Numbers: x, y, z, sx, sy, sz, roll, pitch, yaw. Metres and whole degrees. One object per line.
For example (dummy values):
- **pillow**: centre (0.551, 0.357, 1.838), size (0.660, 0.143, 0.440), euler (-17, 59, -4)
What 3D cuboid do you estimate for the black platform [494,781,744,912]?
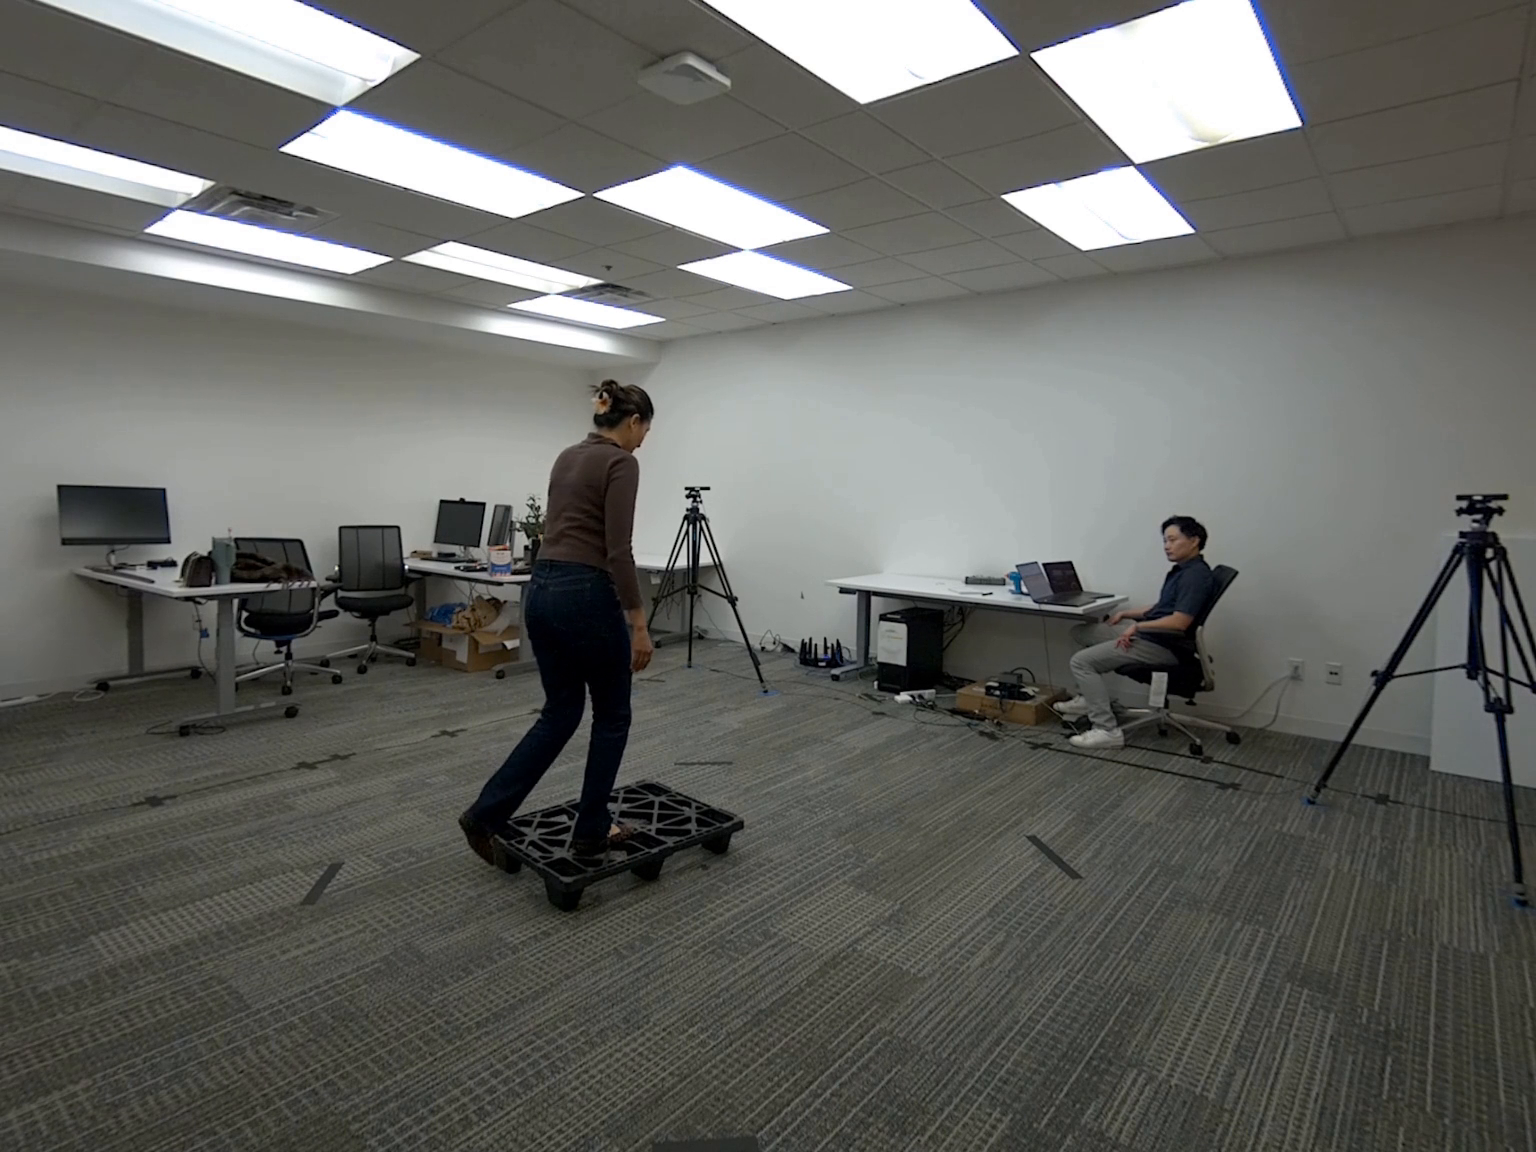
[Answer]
- **black platform**: centre (-0.578, 0.987, 3.181), size (0.782, 0.142, 0.626), euler (-5, 9, -44)
